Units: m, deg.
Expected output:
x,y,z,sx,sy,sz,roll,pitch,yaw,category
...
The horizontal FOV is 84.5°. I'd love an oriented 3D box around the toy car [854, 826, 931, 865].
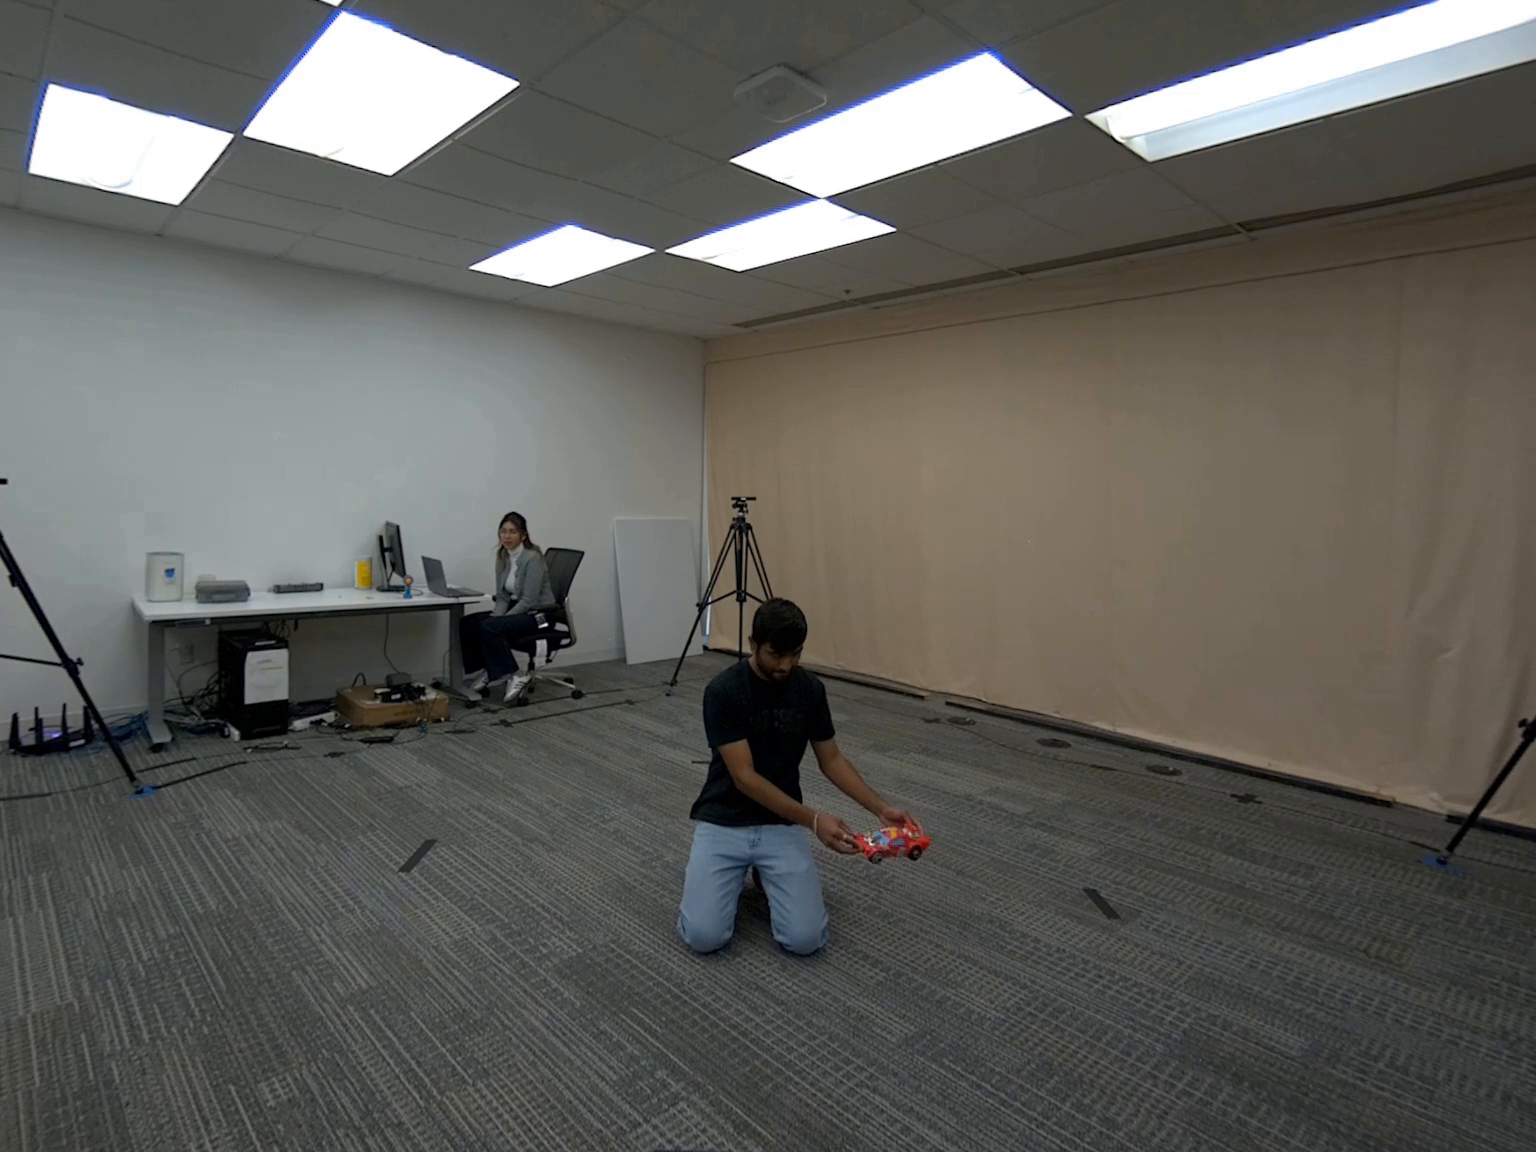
x,y,z,sx,sy,sz,roll,pitch,yaw,category
0.366,0.833,2.600,0.250,0.082,0.133,-7,14,-26,toy car
